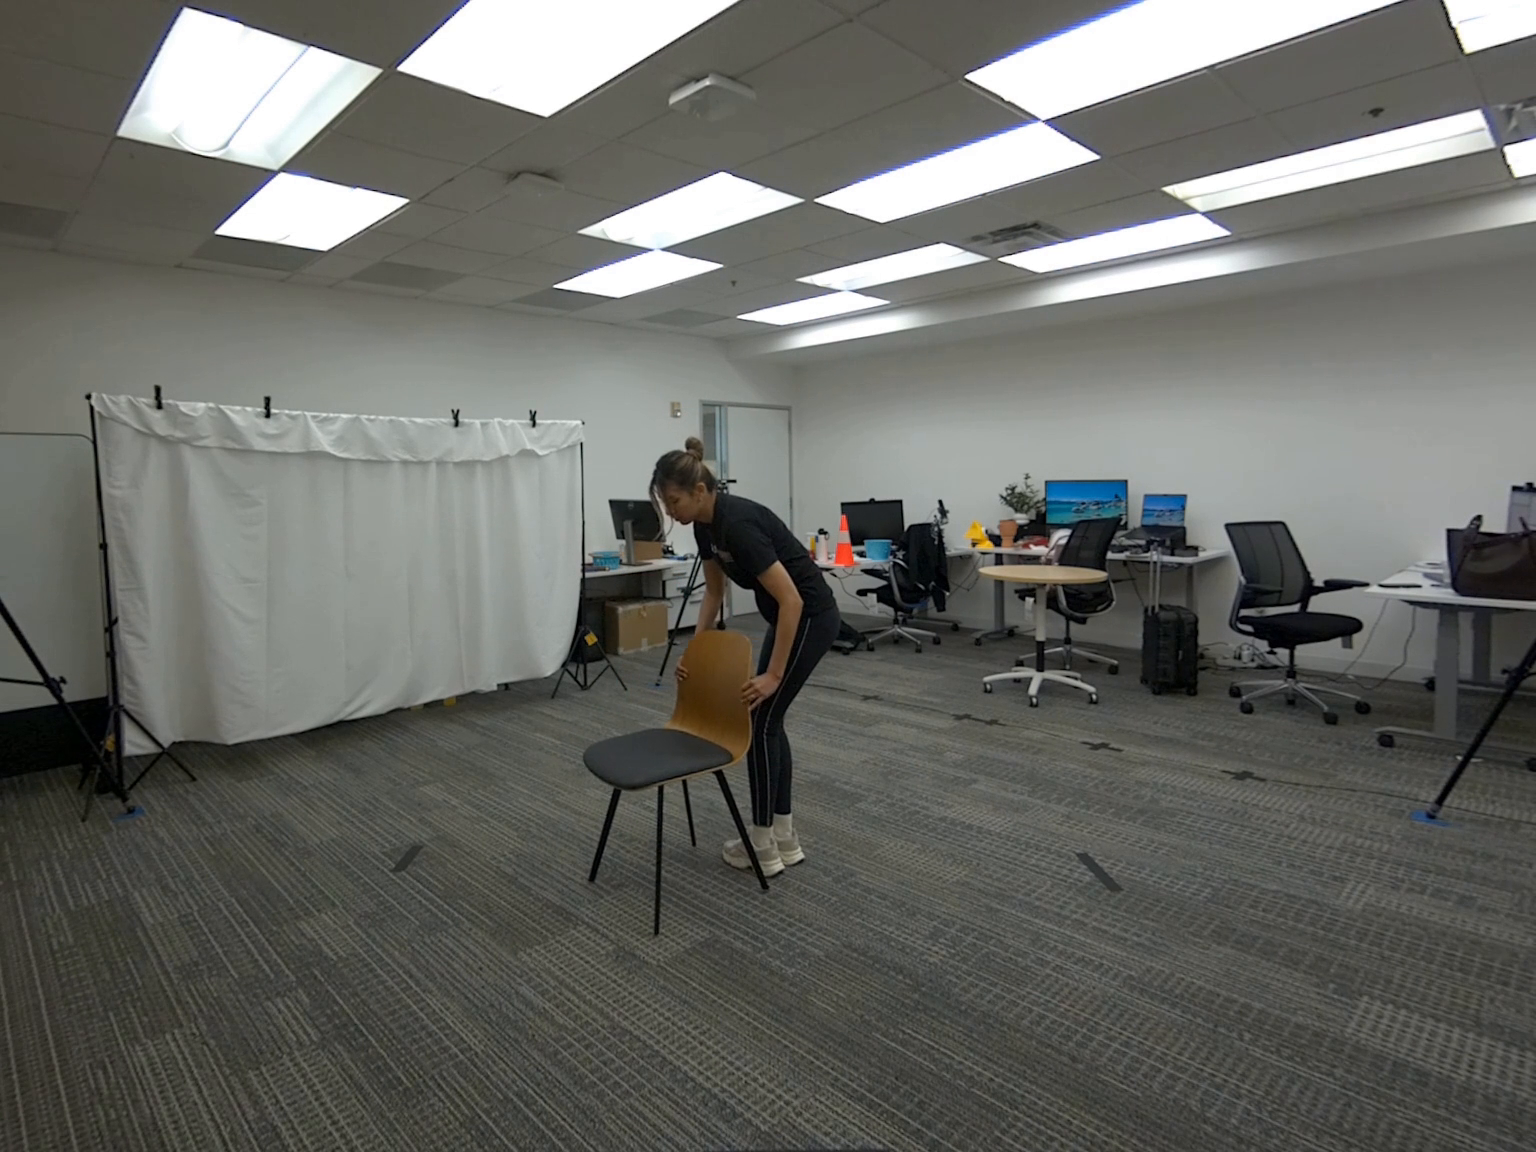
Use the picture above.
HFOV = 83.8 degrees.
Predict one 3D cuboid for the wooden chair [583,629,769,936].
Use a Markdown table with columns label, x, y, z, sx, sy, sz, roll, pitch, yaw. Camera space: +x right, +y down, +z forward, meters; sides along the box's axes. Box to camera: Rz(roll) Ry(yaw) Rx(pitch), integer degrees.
| label | x | y | z | sx | sy | sz | roll | pitch | yaw |
| --- | --- | --- | --- | --- | --- | --- | --- | --- | --- |
| wooden chair | -0.335 | 0.643 | 2.890 | 0.509 | 0.876 | 0.492 | -1 | 3 | -37 |
